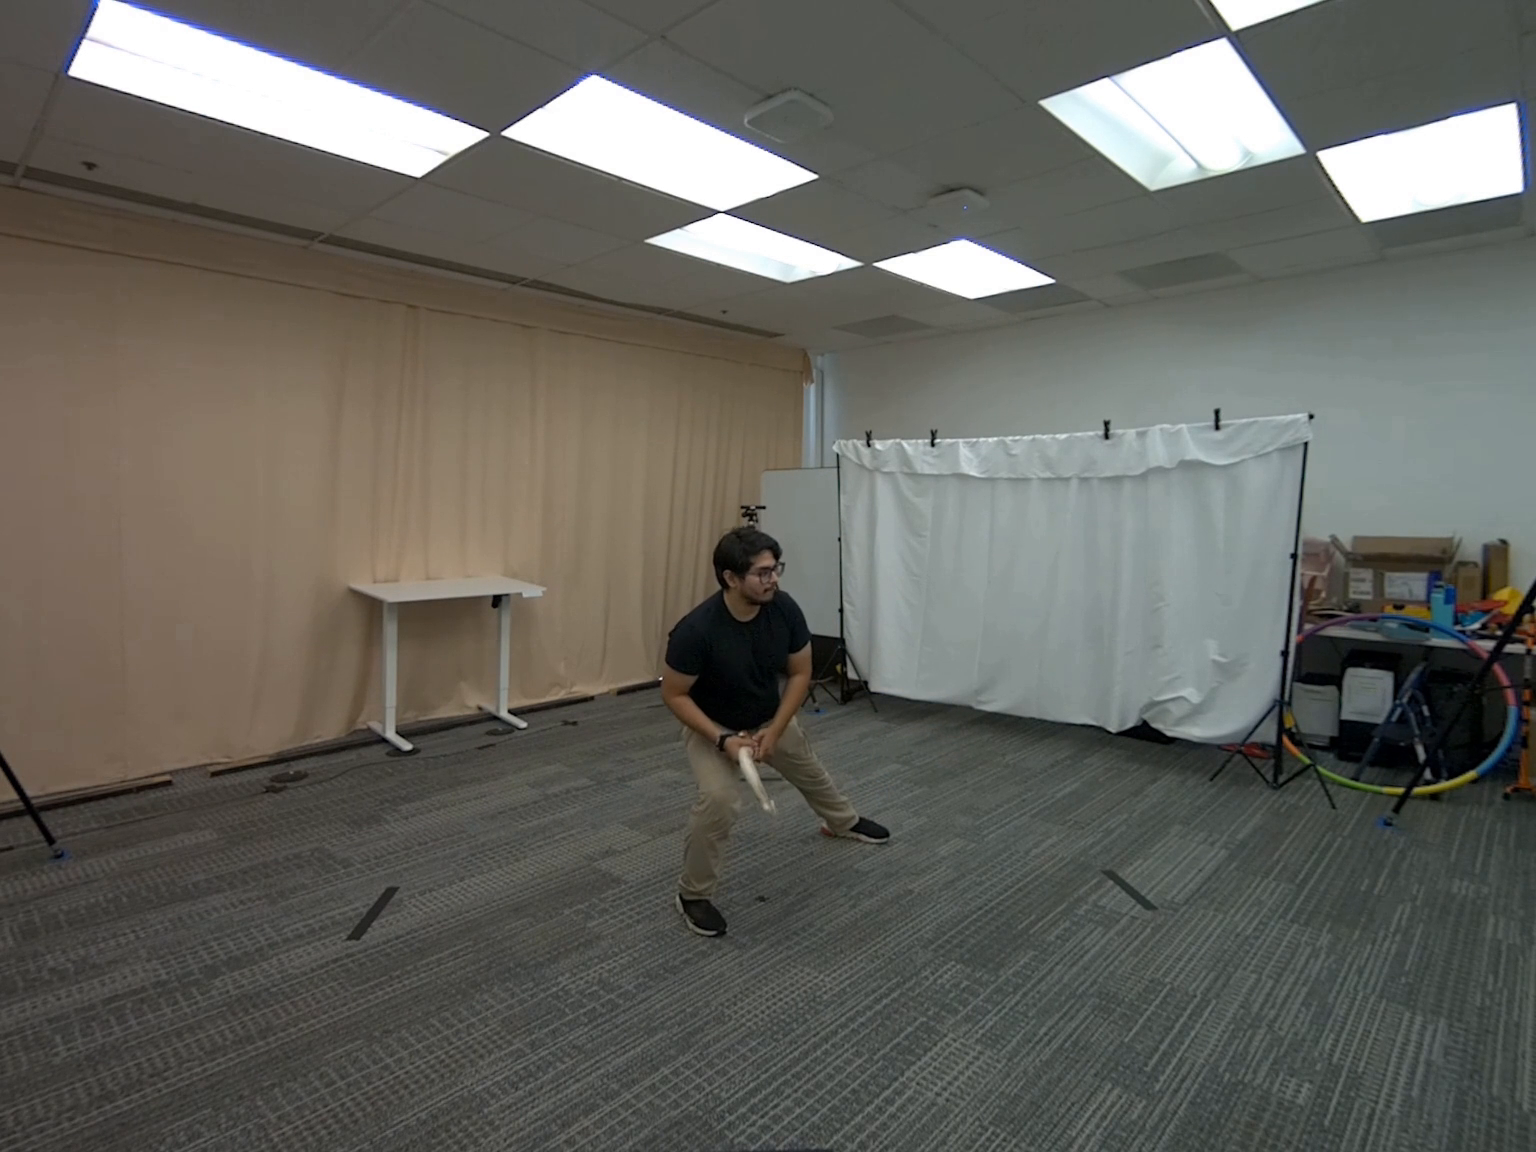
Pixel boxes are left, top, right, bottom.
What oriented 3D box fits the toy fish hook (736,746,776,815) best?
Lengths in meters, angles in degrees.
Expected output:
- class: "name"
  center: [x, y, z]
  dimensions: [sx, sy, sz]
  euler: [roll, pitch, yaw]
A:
- class: "toy fish hook"
  center: [-0.050, 0.608, 2.631]
  dimensions: [0.048, 0.223, 0.511]
  euler: [-20, 6, -7]
